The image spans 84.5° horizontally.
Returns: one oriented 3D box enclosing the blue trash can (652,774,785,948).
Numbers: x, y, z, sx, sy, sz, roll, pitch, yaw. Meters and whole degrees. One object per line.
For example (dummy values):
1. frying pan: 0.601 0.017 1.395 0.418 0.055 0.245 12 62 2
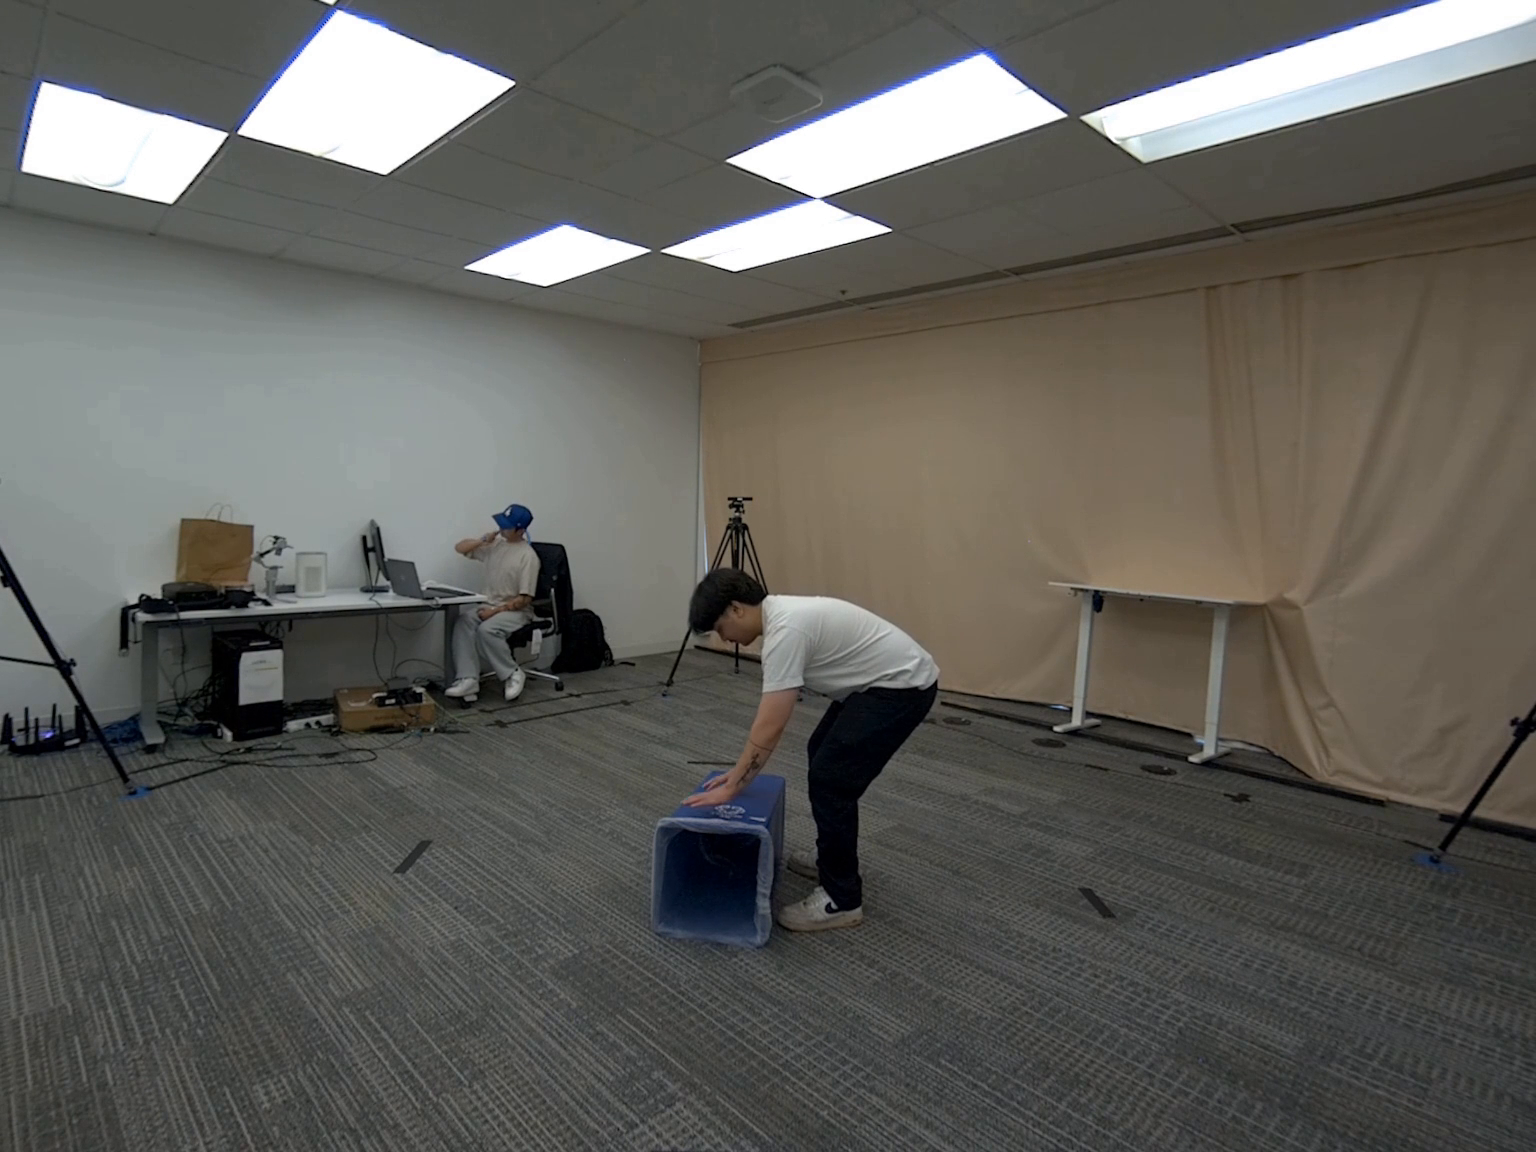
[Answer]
1. blue trash can: -0.142 0.948 2.981 0.376 0.378 0.709 1 2 7
